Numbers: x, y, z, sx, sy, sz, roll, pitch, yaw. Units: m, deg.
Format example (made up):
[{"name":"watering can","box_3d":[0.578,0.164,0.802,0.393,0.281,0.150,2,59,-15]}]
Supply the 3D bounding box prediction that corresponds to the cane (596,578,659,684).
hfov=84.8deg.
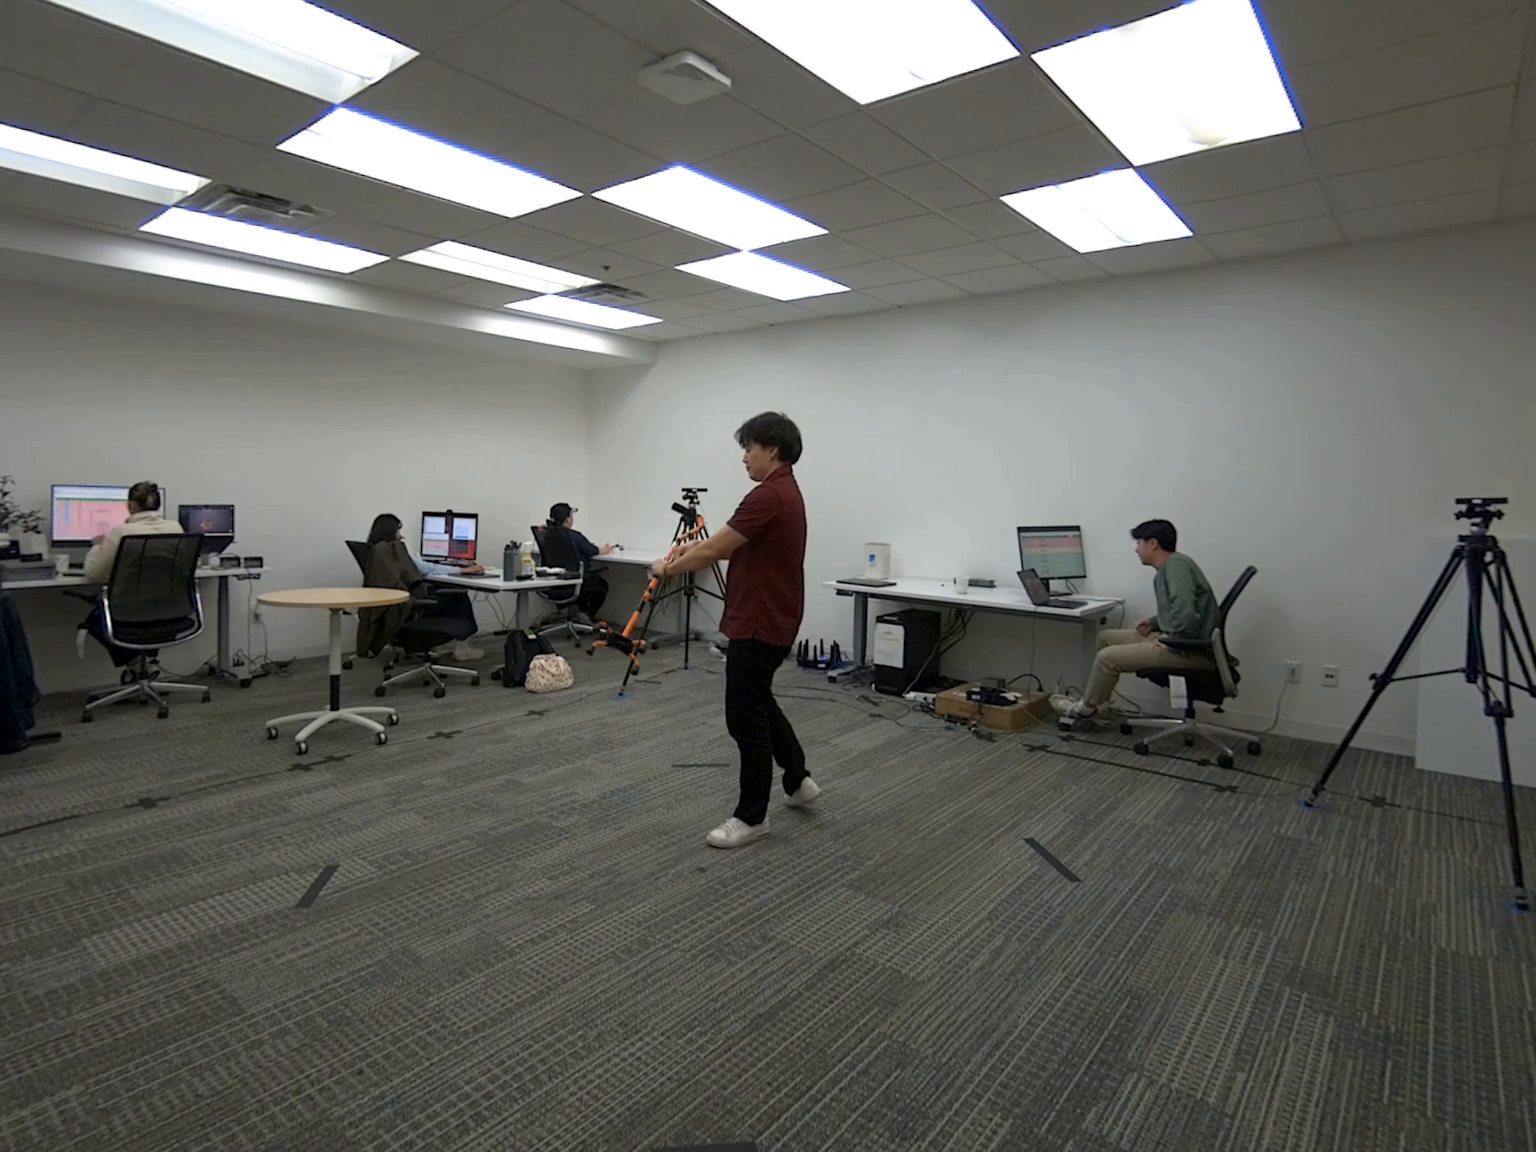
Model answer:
[{"name":"cane","box_3d":[-0.447,-0.012,3.383,0.206,0.150,0.920,24,41,-2]}]
